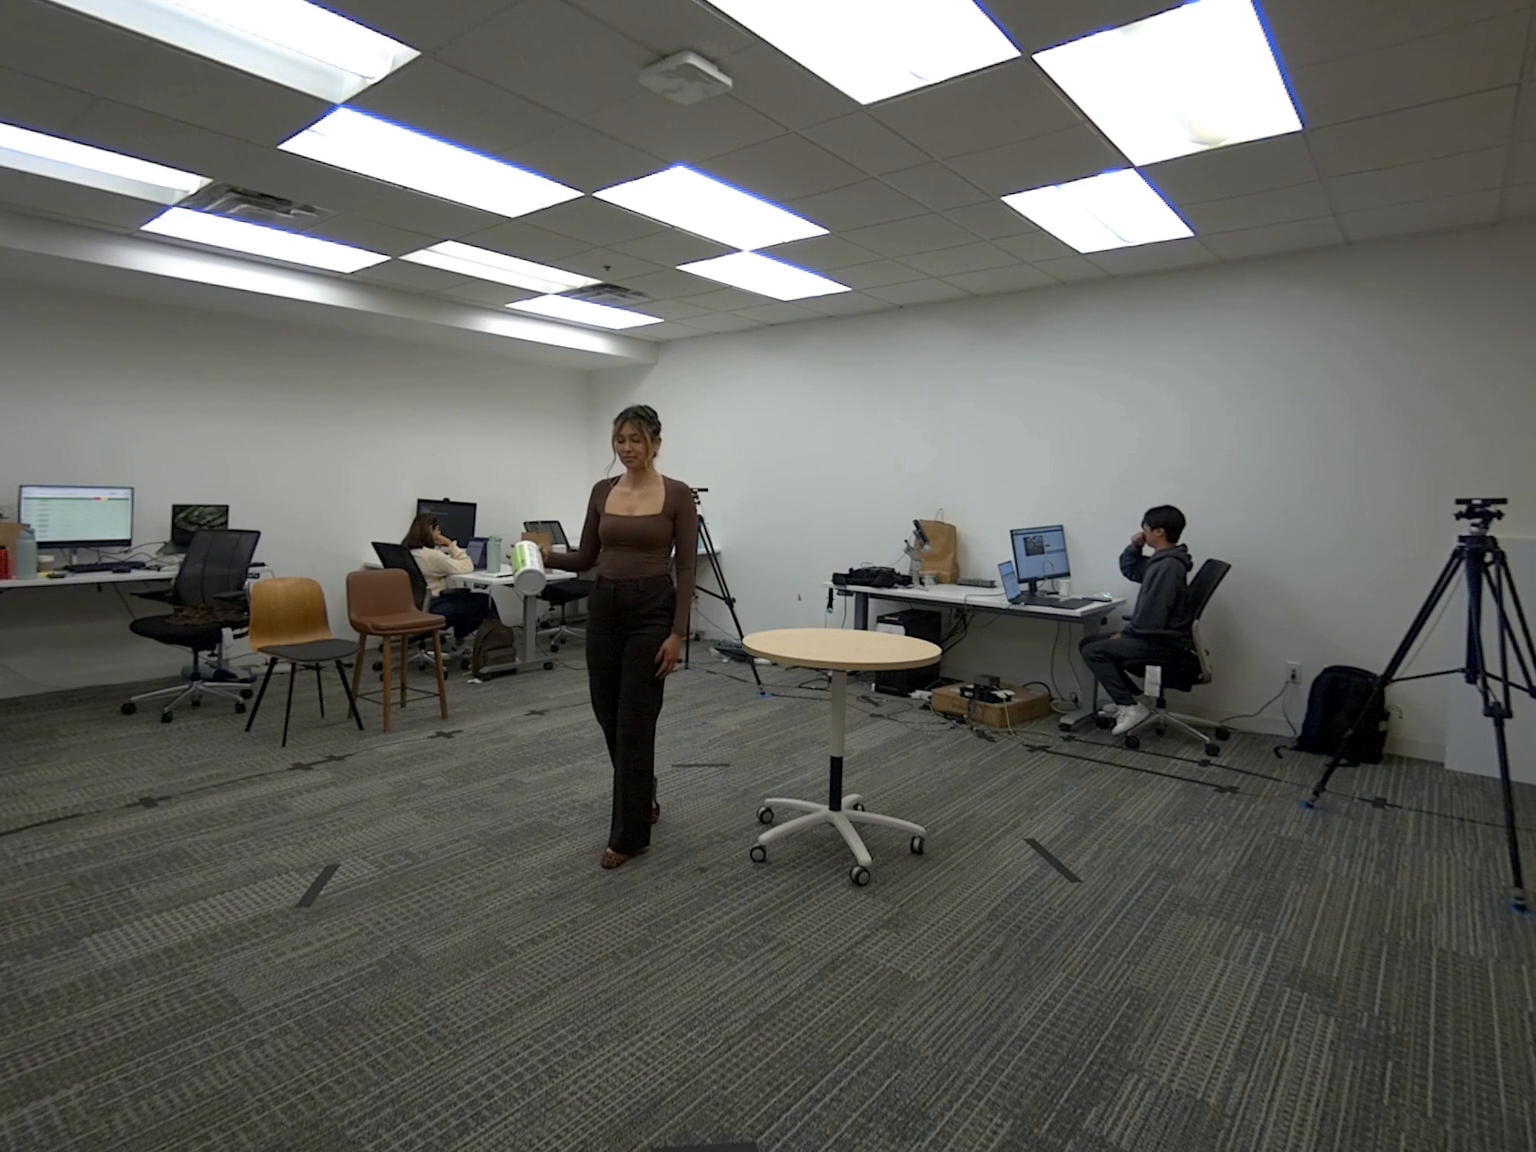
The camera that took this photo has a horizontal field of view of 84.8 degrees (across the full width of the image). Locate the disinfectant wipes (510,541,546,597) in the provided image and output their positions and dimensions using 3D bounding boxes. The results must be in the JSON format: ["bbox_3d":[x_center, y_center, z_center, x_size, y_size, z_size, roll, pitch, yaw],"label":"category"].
[{"bbox_3d":[-0.850,-0.034,2.985,0.115,0.115,0.226,-1,29,-19],"label":"disinfectant wipes"}]
